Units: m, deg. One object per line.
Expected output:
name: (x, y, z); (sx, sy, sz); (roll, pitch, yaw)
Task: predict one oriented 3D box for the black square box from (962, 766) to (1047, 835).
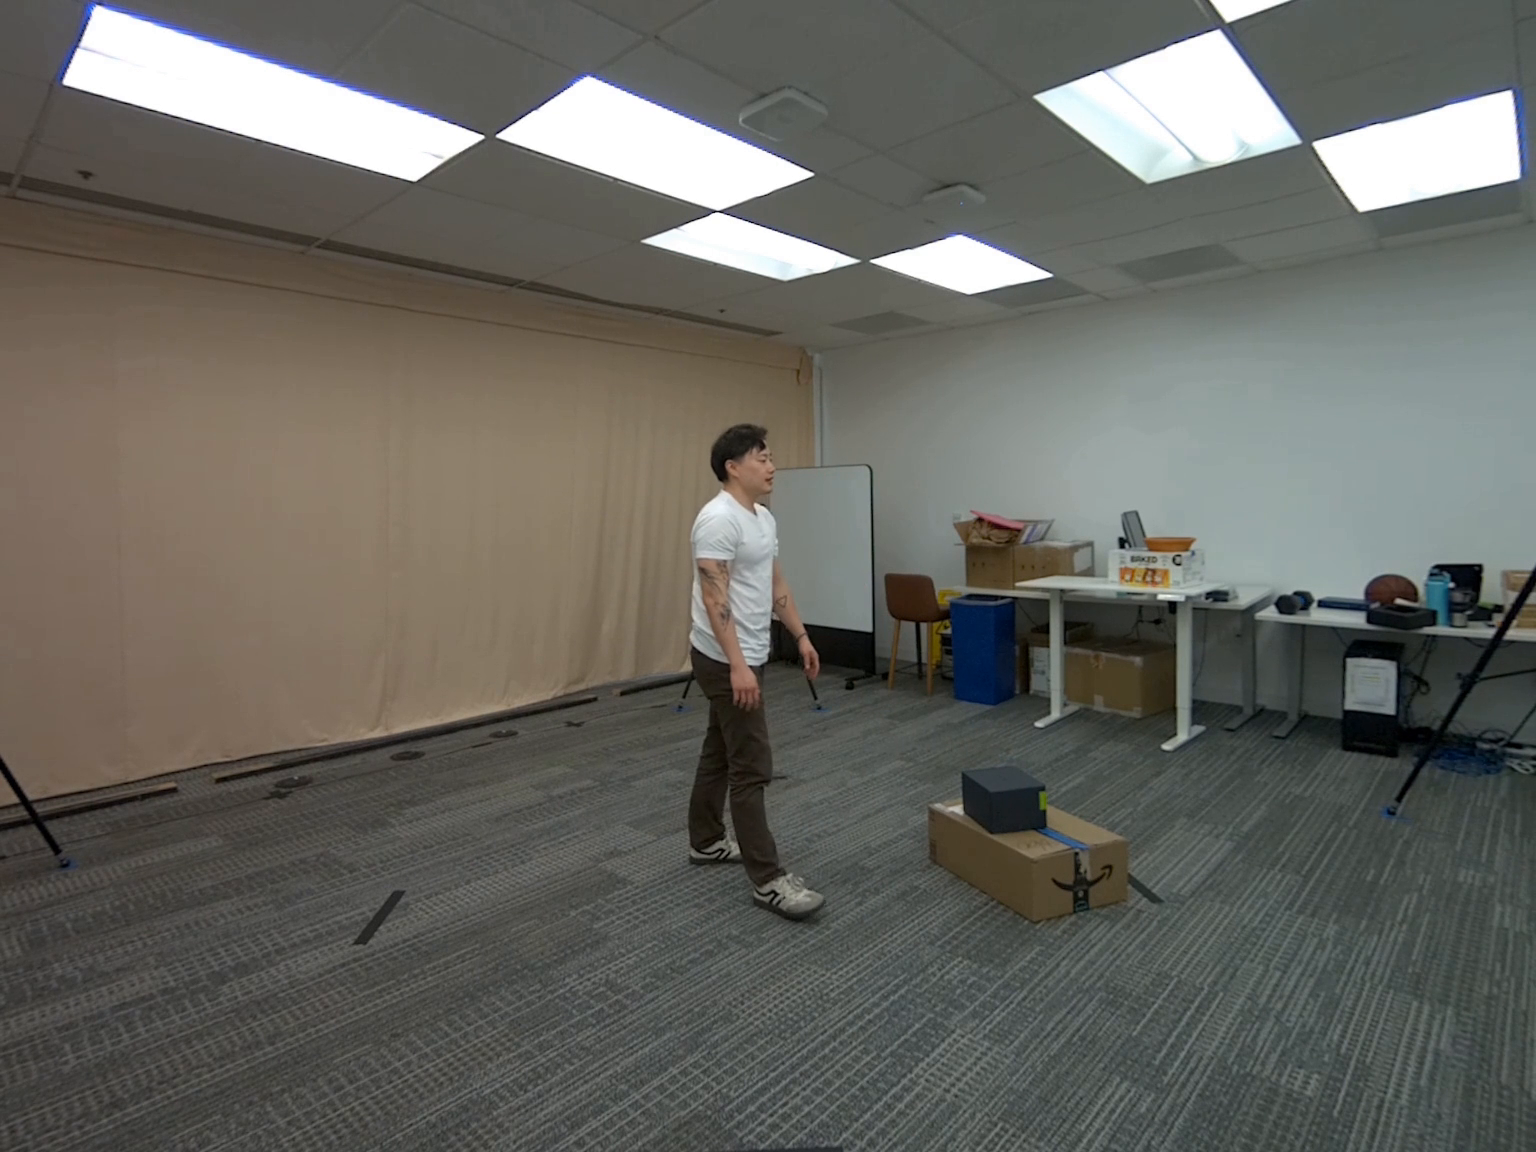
black square box: (0.859, 0.807, 3.081); (0.214, 0.155, 0.231); (-2, 6, -12)
